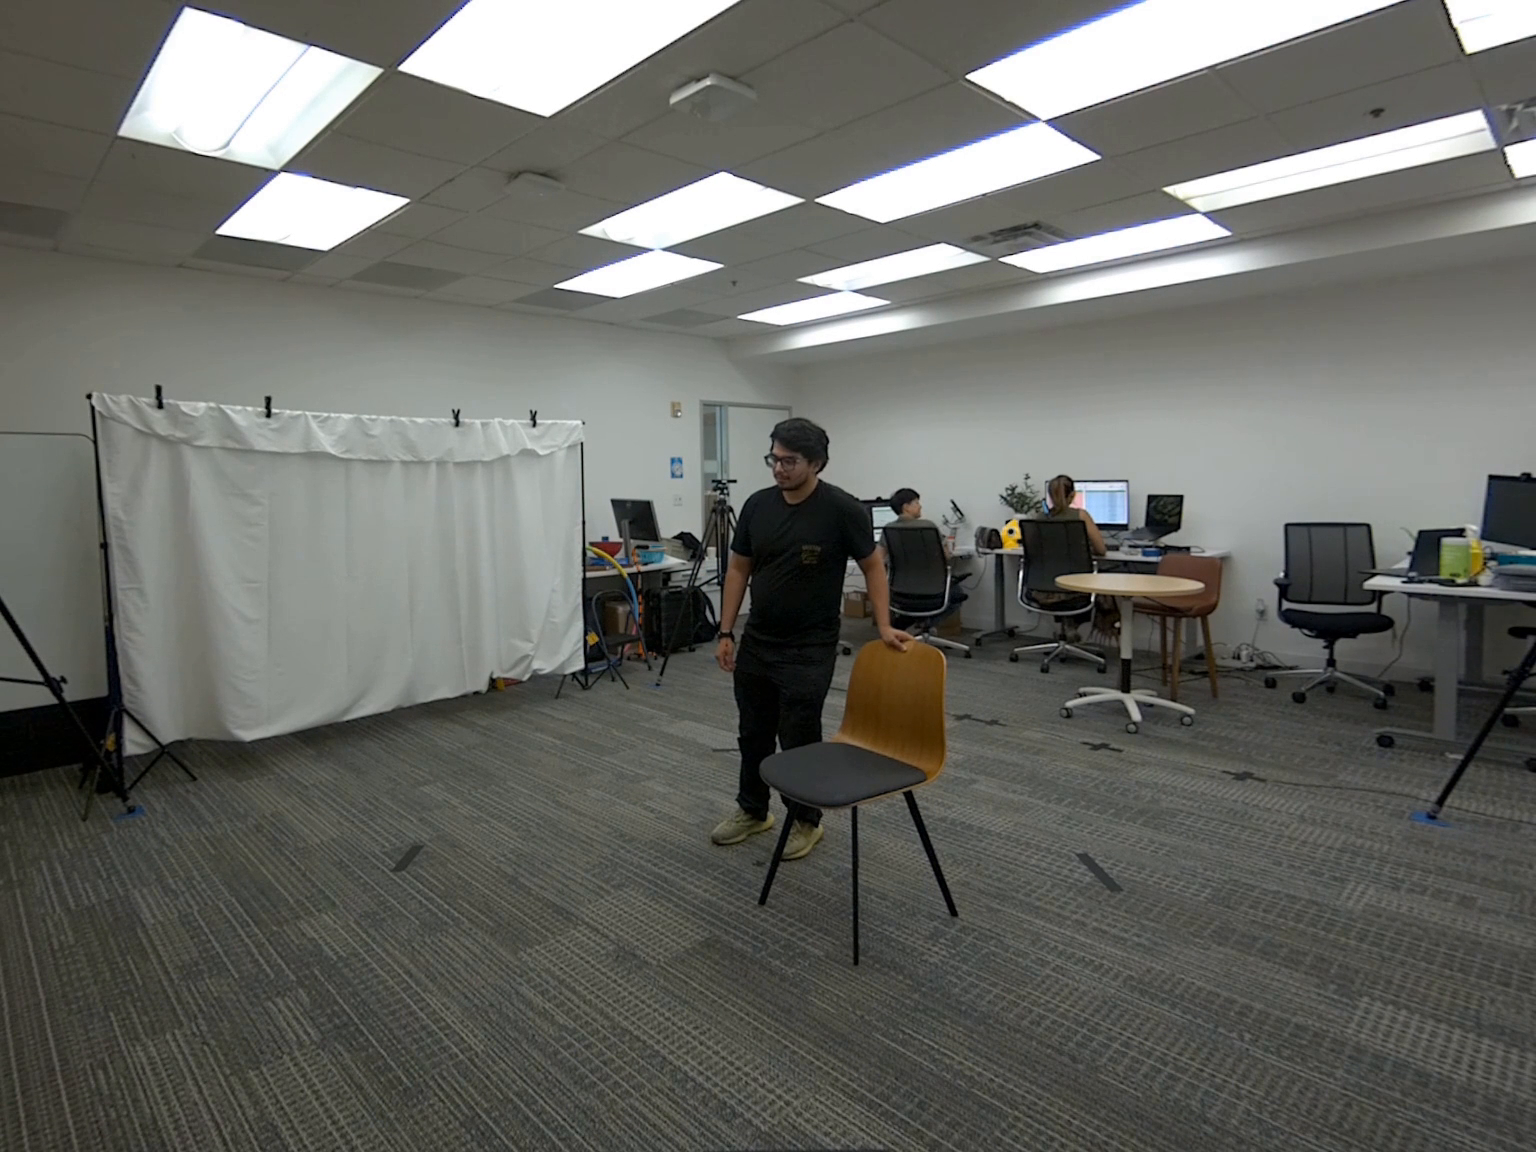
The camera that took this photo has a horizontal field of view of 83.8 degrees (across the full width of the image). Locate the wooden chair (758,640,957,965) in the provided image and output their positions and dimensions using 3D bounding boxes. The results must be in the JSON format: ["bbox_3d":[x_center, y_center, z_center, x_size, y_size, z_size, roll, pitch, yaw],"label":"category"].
[{"bbox_3d":[0.279,0.660,2.718,0.508,0.877,0.492,1,2,-38],"label":"wooden chair"}]
